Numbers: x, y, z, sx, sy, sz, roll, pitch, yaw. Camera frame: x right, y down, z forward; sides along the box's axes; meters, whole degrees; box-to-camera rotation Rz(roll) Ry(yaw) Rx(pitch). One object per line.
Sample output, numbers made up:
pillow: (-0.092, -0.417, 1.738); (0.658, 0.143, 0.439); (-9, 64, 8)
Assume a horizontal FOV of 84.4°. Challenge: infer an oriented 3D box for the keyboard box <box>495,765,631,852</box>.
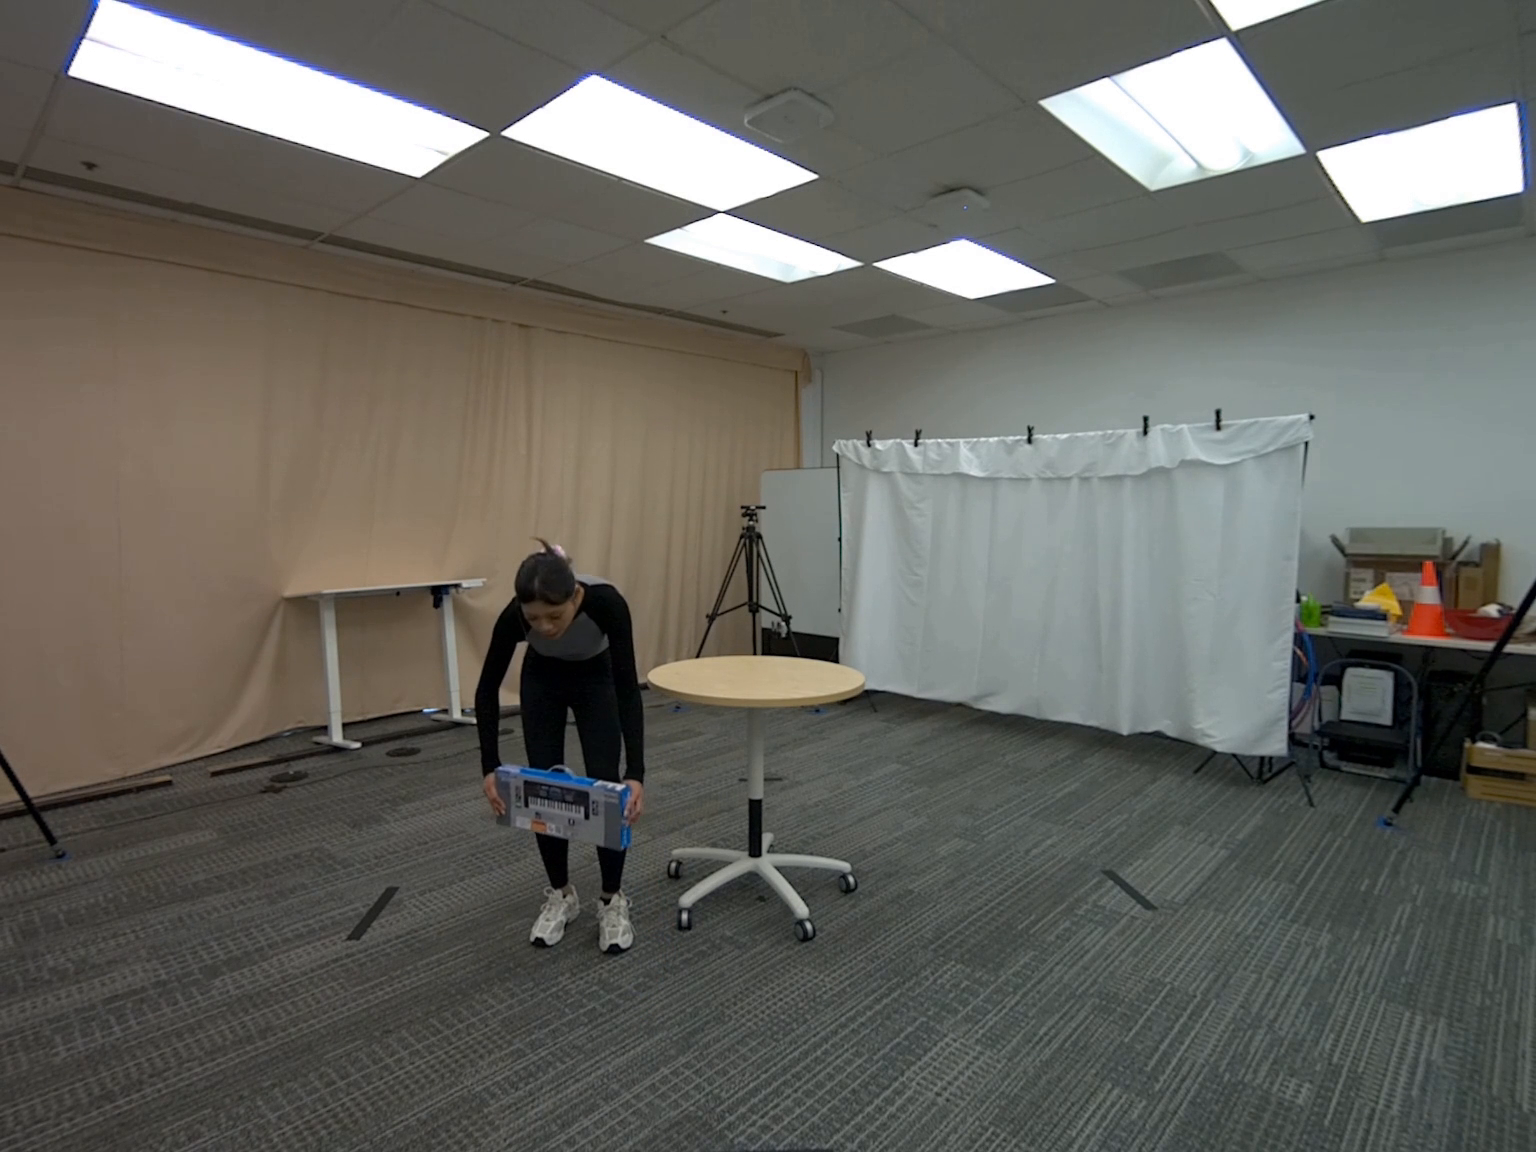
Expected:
keyboard box: (-0.607, 0.670, 2.464); (0.447, 0.175, 0.058); (3, 6, 23)
